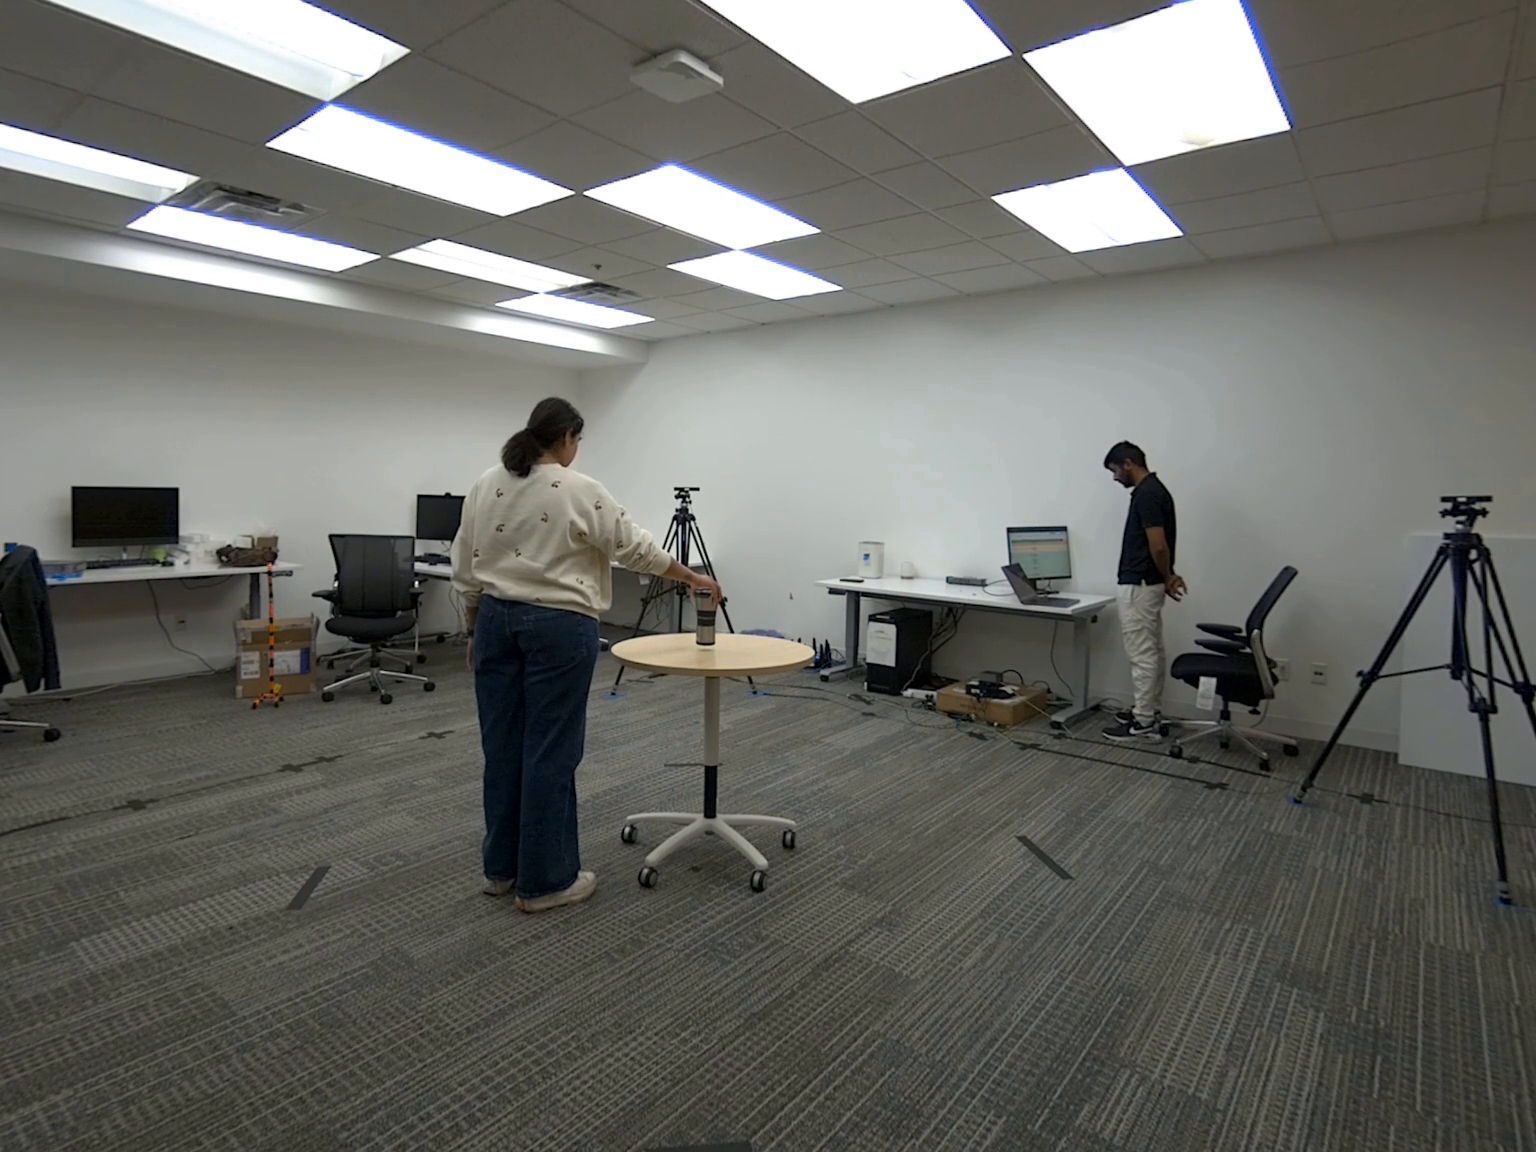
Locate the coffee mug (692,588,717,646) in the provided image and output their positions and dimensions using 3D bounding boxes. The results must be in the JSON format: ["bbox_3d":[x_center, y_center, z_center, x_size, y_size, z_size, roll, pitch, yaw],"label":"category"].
[{"bbox_3d":[-0.226,0.153,3.198,0.090,0.202,0.119,2,6,32],"label":"coffee mug"}]
